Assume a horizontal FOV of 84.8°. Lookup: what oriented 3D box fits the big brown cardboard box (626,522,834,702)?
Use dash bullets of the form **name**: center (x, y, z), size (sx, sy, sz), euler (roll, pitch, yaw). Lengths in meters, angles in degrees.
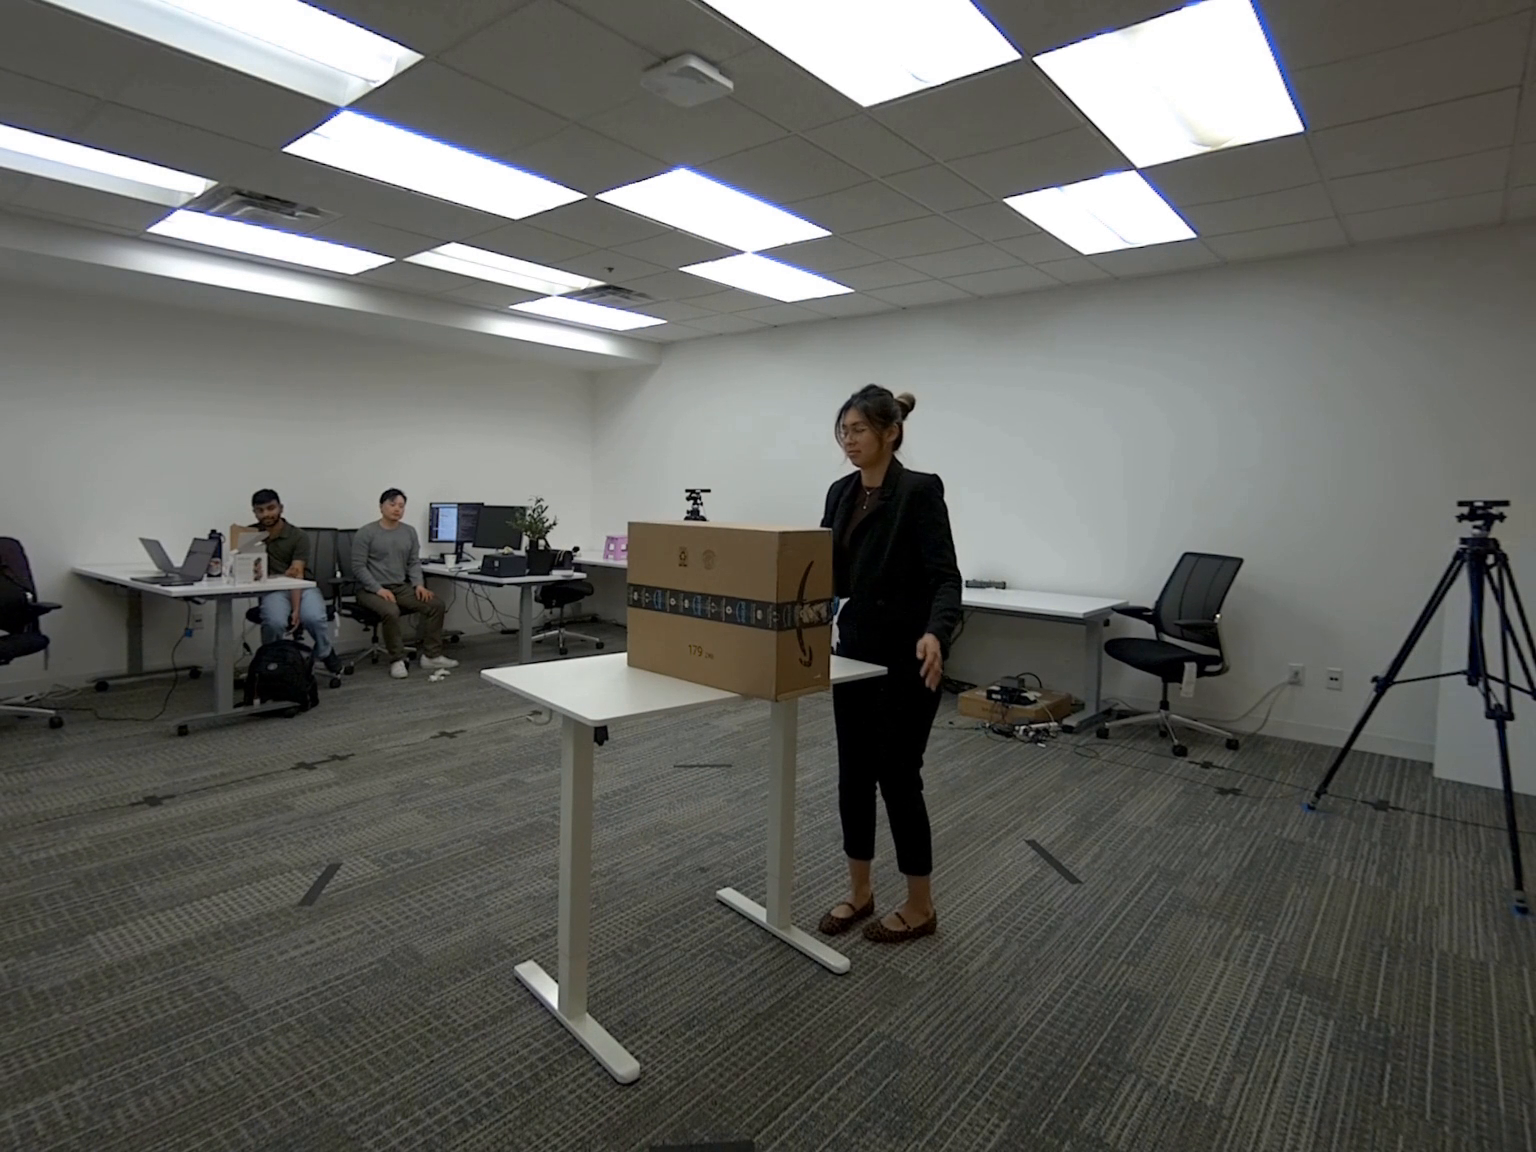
- **big brown cardboard box**: center (-0.117, 0.065, 2.305), size (0.609, 0.416, 0.226), euler (6, 6, 42)
